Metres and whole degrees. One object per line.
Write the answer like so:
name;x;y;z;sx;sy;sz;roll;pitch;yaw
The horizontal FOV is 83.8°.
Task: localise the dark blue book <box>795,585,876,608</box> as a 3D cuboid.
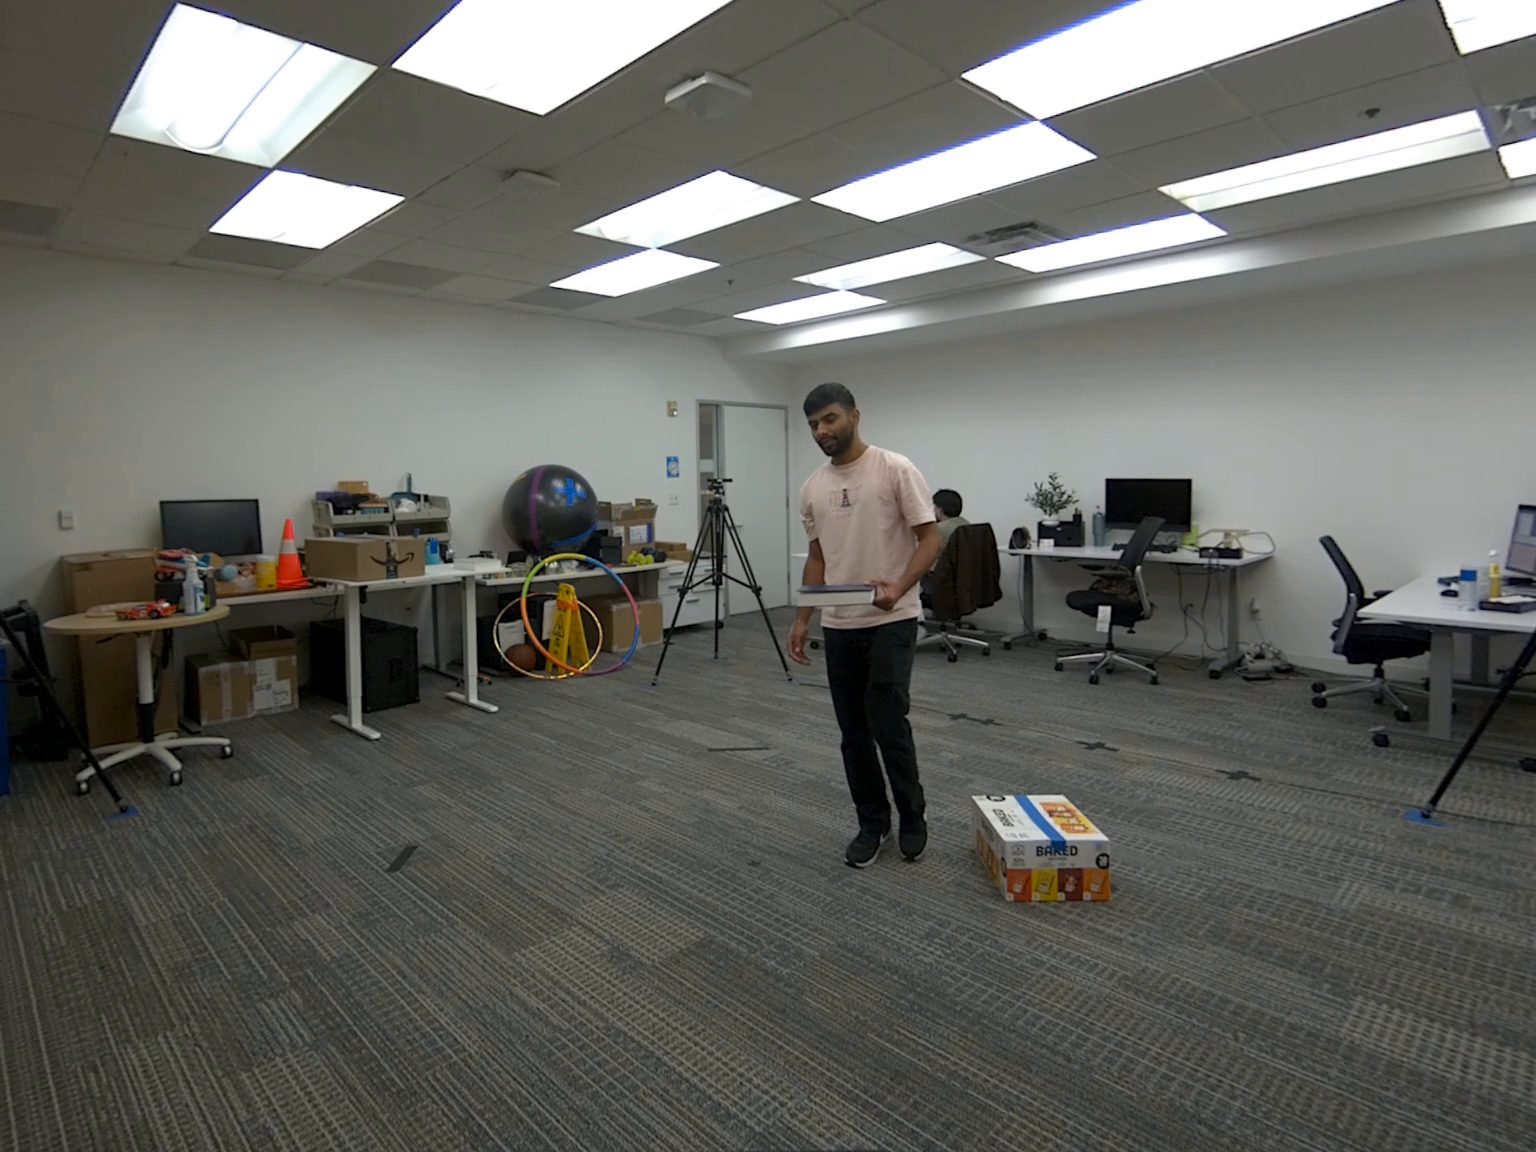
dark blue book;0.253;0.063;2.805;0.249;0.045;0.162;-1;9;15
